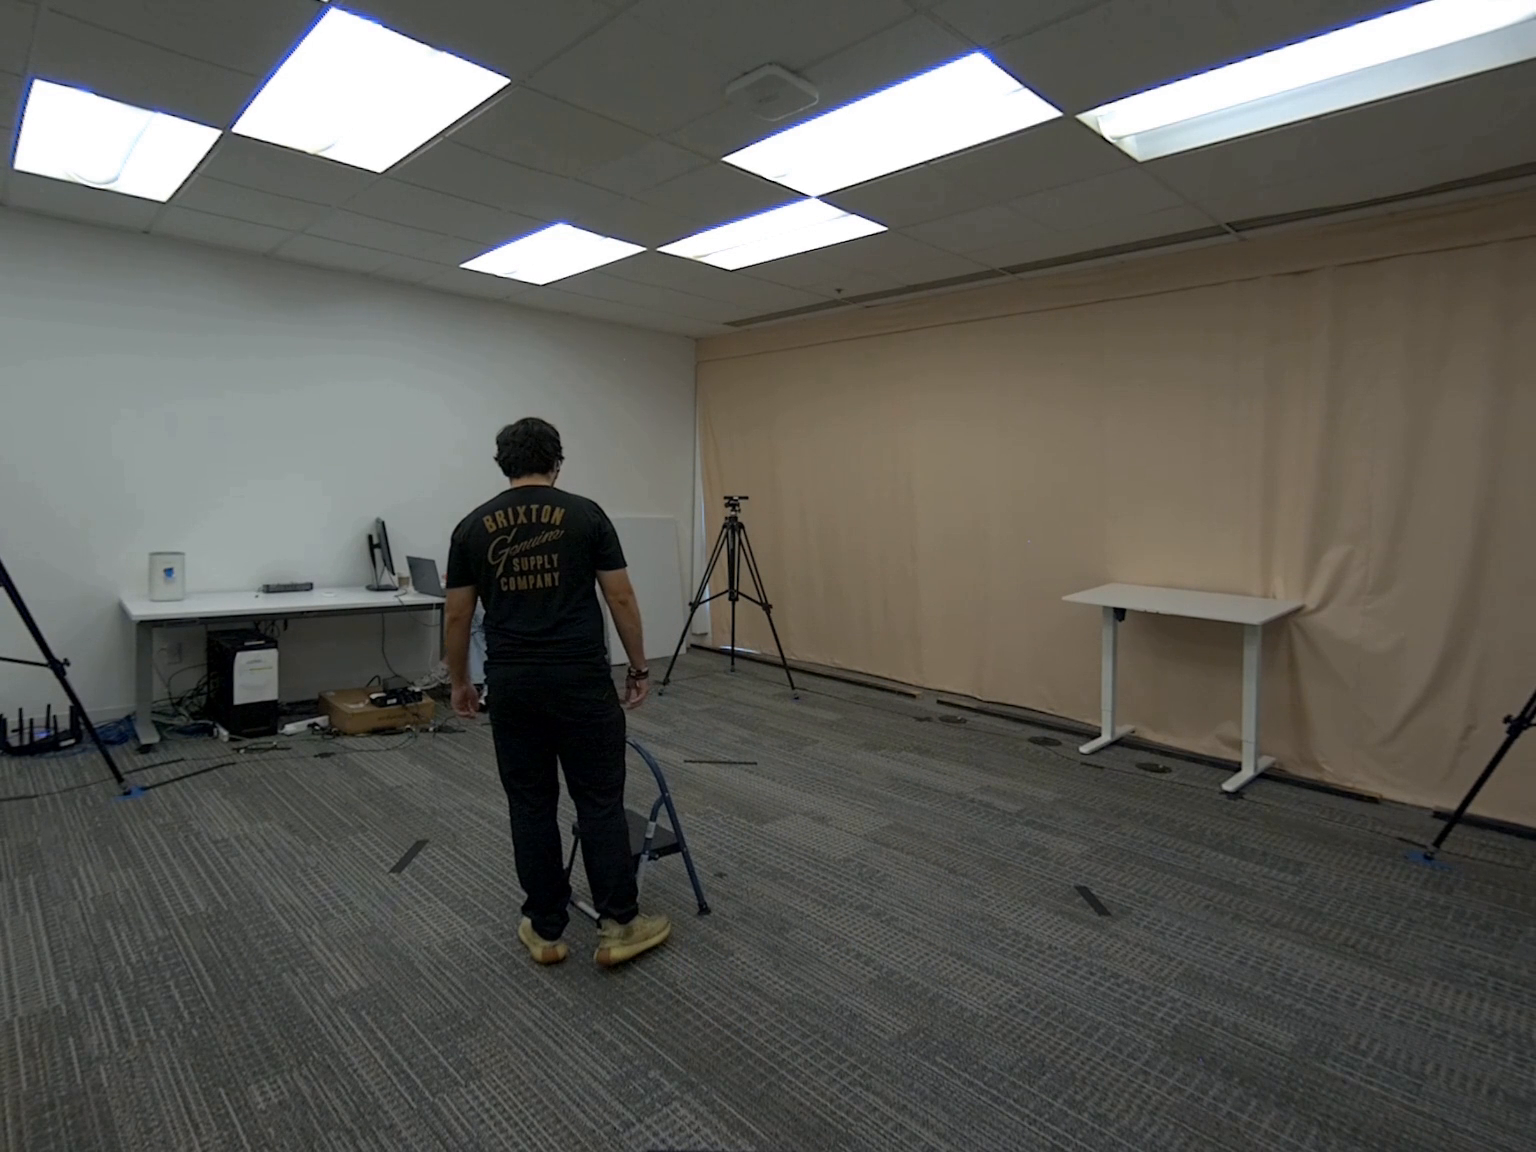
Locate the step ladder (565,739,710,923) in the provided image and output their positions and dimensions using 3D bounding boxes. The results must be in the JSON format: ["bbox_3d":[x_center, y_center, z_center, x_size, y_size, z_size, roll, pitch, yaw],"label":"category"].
[{"bbox_3d":[-0.458,0.818,2.857,0.341,0.604,0.441,-2,5,-42],"label":"step ladder"}]
